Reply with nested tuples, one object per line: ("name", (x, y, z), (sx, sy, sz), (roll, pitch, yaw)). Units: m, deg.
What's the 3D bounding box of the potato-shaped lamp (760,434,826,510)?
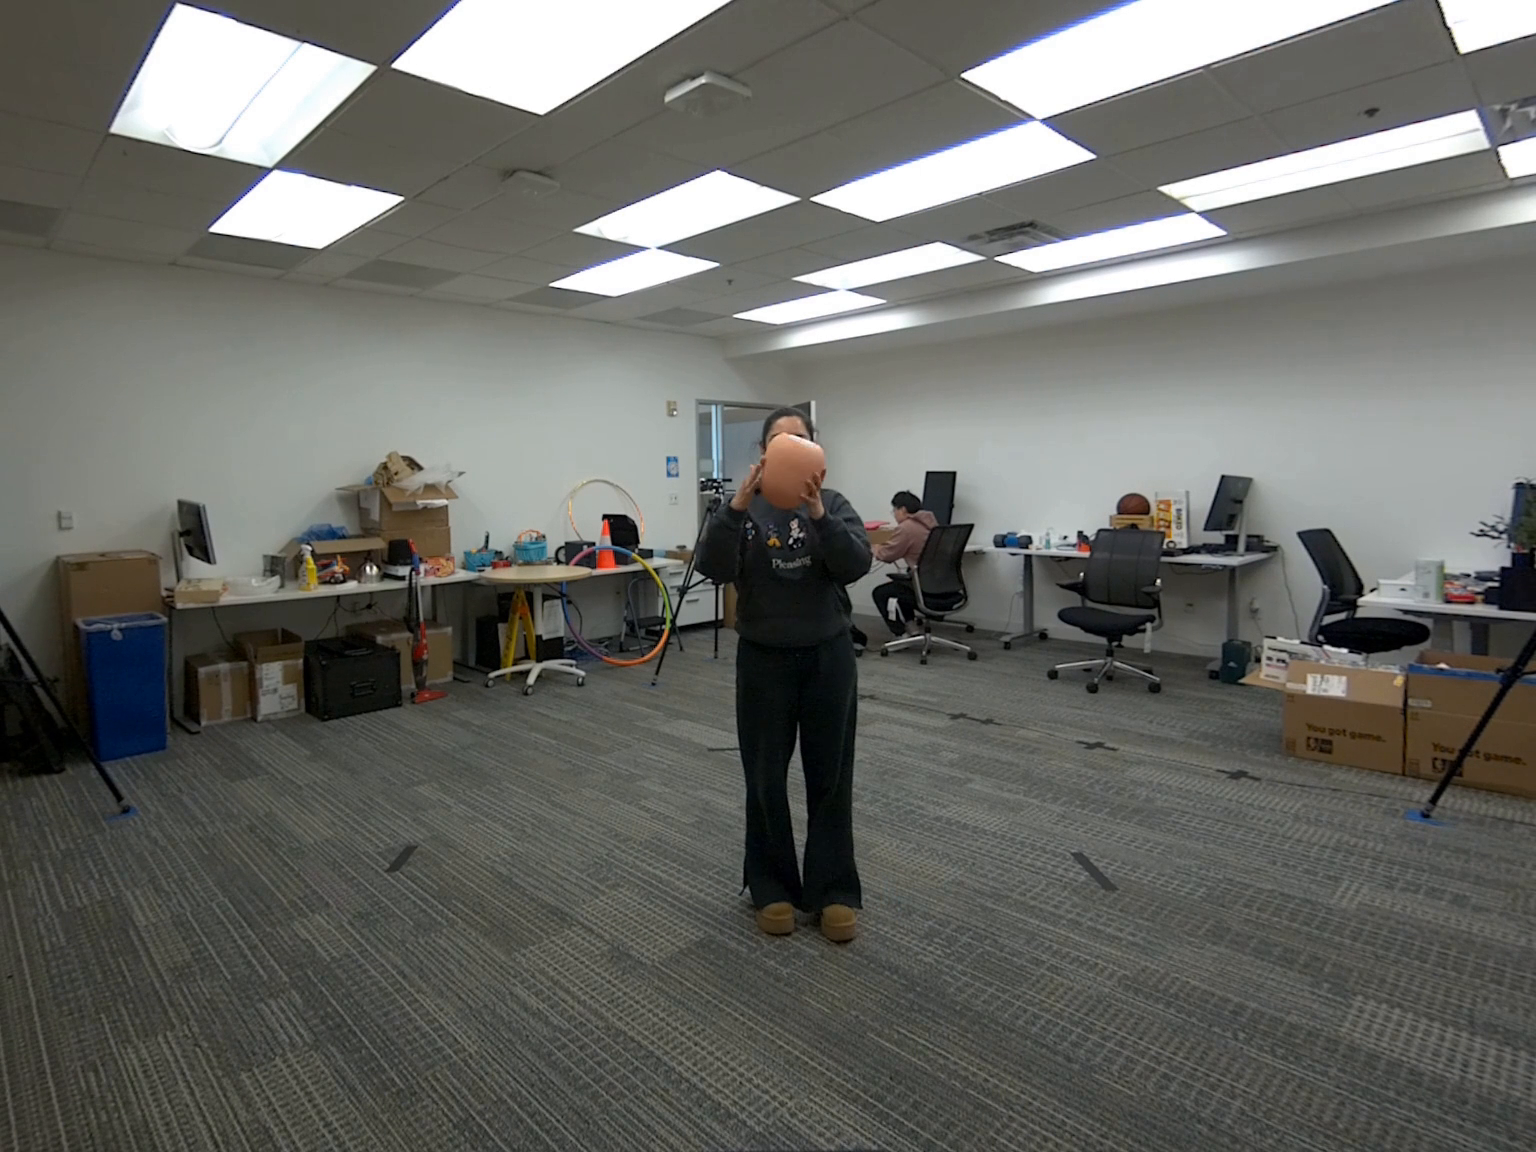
("potato-shaped lamp", (0.057, -0.283, 2.350), (0.164, 0.197, 0.173), (20, 14, -5))
